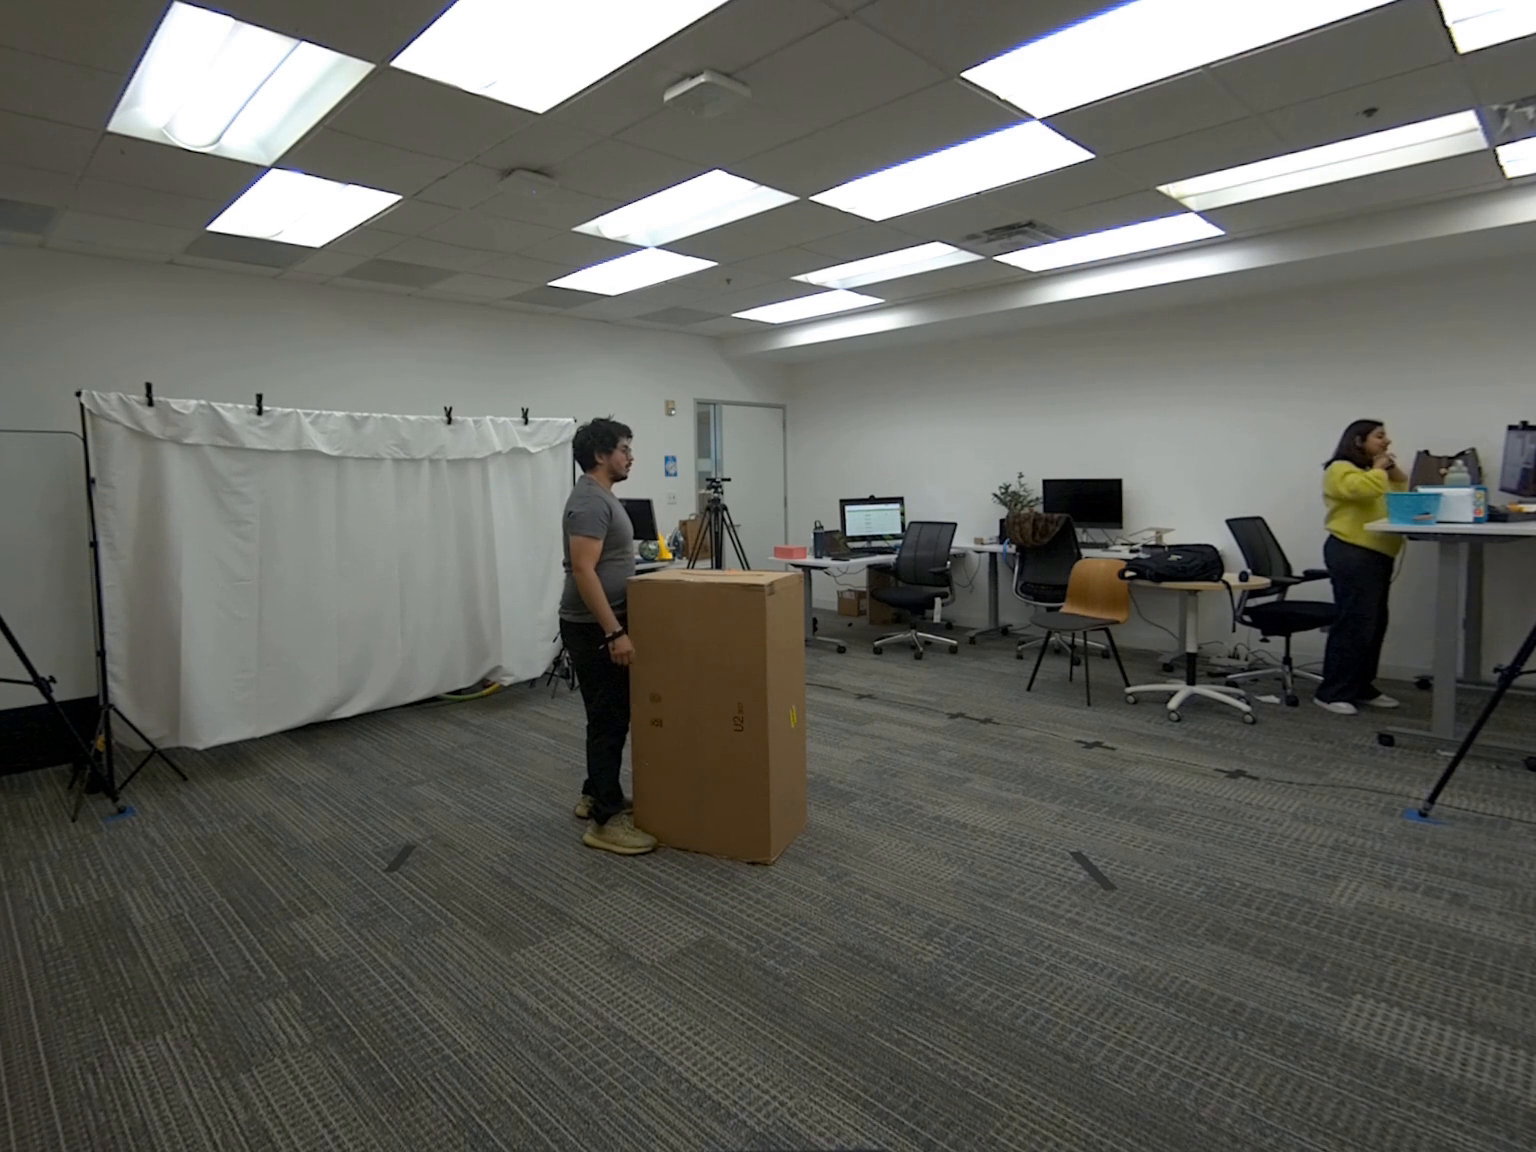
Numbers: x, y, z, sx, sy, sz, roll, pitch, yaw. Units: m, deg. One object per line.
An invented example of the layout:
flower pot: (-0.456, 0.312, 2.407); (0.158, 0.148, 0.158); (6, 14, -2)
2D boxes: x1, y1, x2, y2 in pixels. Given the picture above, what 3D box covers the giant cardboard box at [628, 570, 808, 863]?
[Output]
giant cardboard box: (-0.182, 0.511, 3.355); (0.596, 1.023, 0.439); (1, 4, 22)
